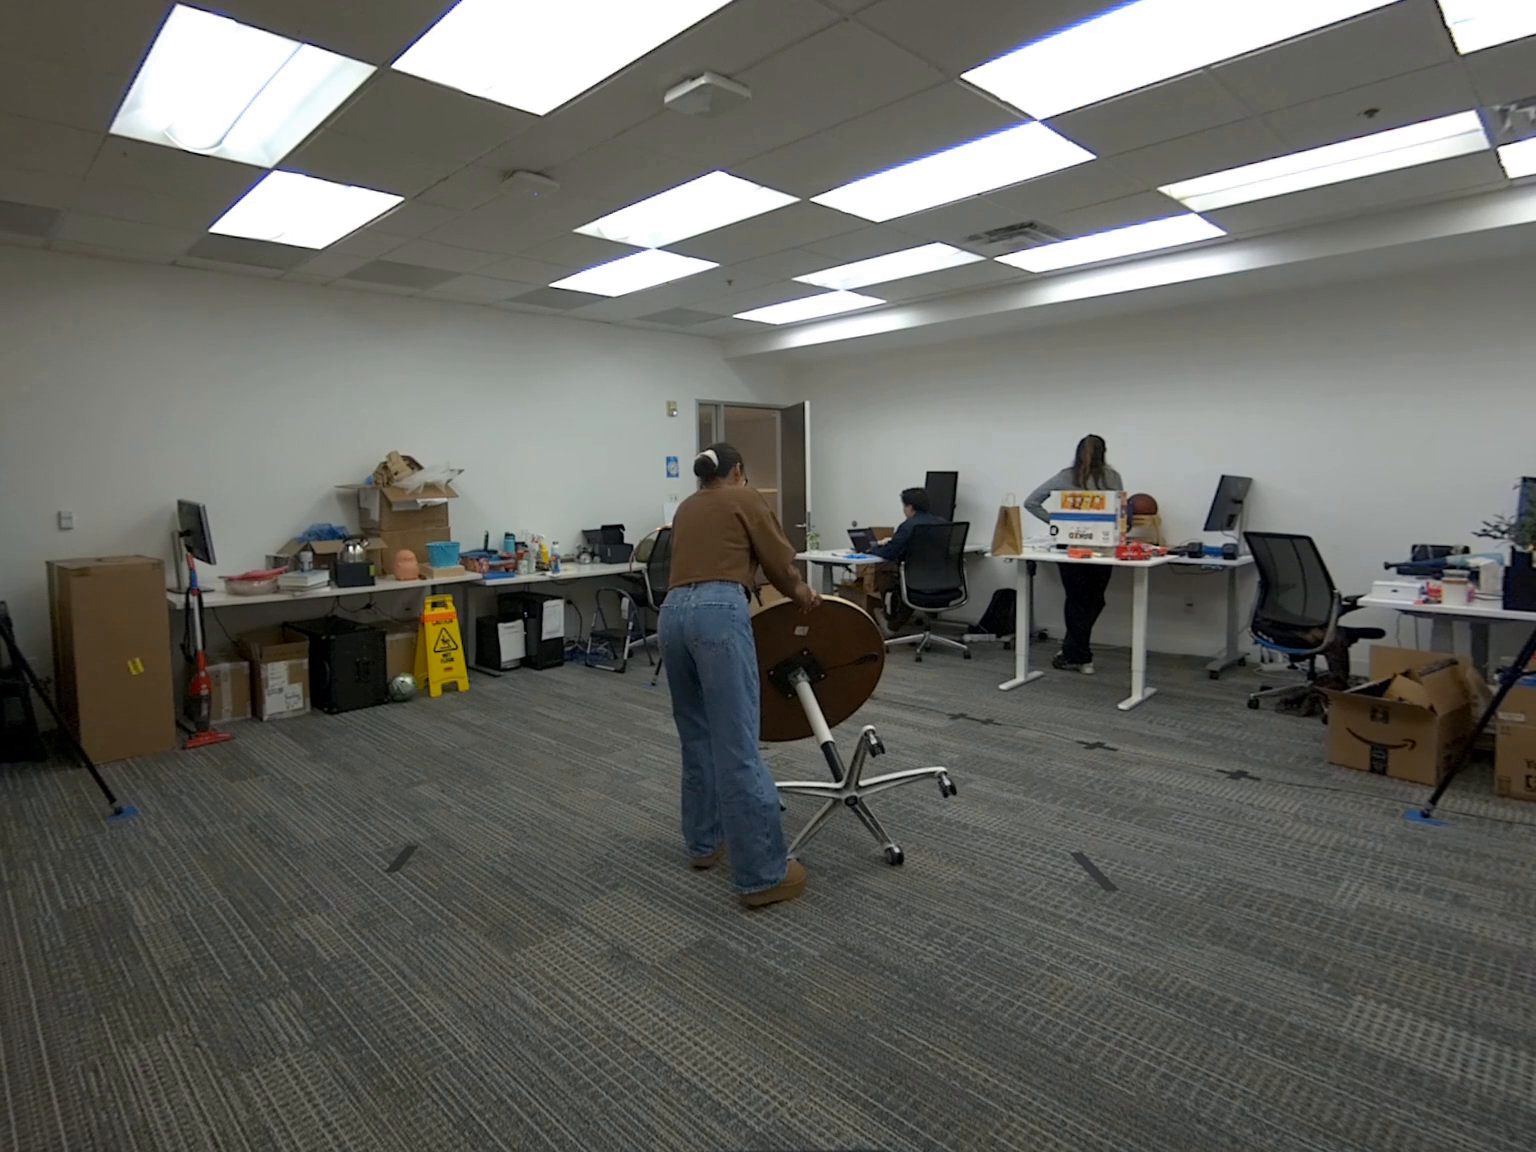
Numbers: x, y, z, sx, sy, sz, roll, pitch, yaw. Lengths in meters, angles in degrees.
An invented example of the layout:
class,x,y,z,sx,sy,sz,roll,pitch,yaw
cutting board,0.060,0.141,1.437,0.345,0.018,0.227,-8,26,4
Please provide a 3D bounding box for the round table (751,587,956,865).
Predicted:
class,x,y,z,sx,sy,sz,roll,pitch,yaw
round table,0.214,0.599,3.224,0.754,0.748,0.821,-2,33,-14
